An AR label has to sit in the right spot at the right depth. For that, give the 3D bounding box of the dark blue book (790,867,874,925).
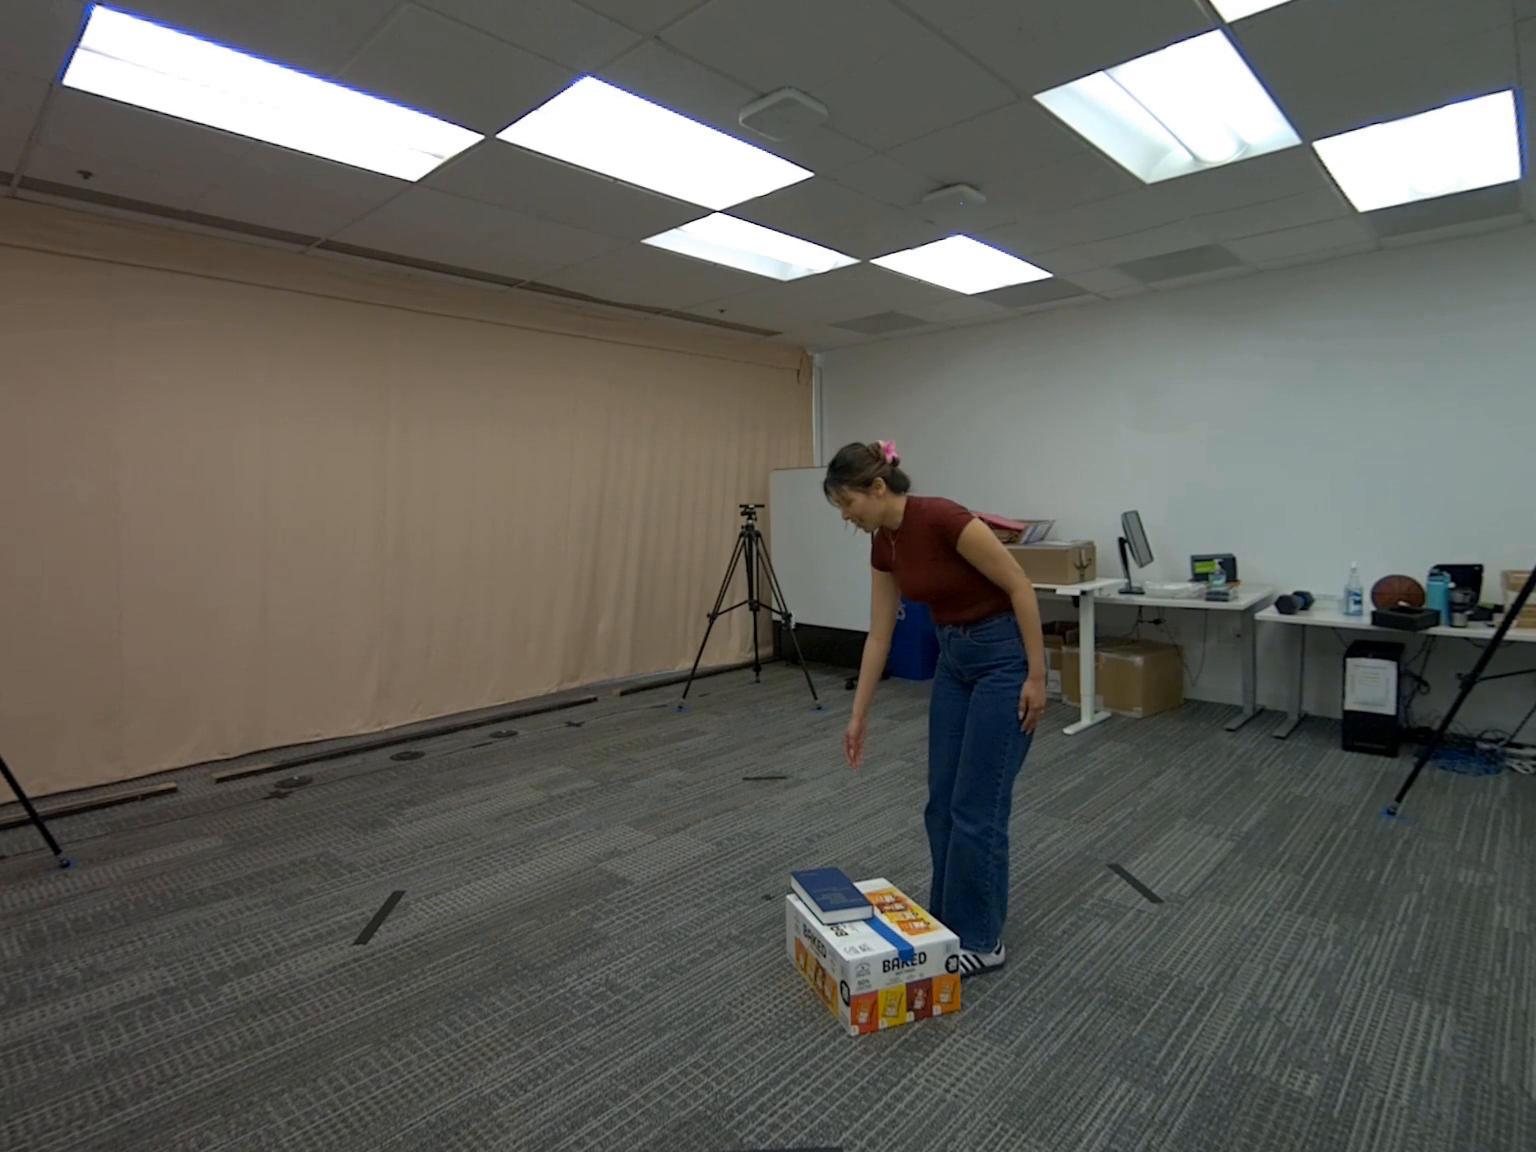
[{"bbox_3d":[0.196,0.961,2.513,0.160,0.045,0.251,-1,7,-21],"label":"dark blue book"}]
